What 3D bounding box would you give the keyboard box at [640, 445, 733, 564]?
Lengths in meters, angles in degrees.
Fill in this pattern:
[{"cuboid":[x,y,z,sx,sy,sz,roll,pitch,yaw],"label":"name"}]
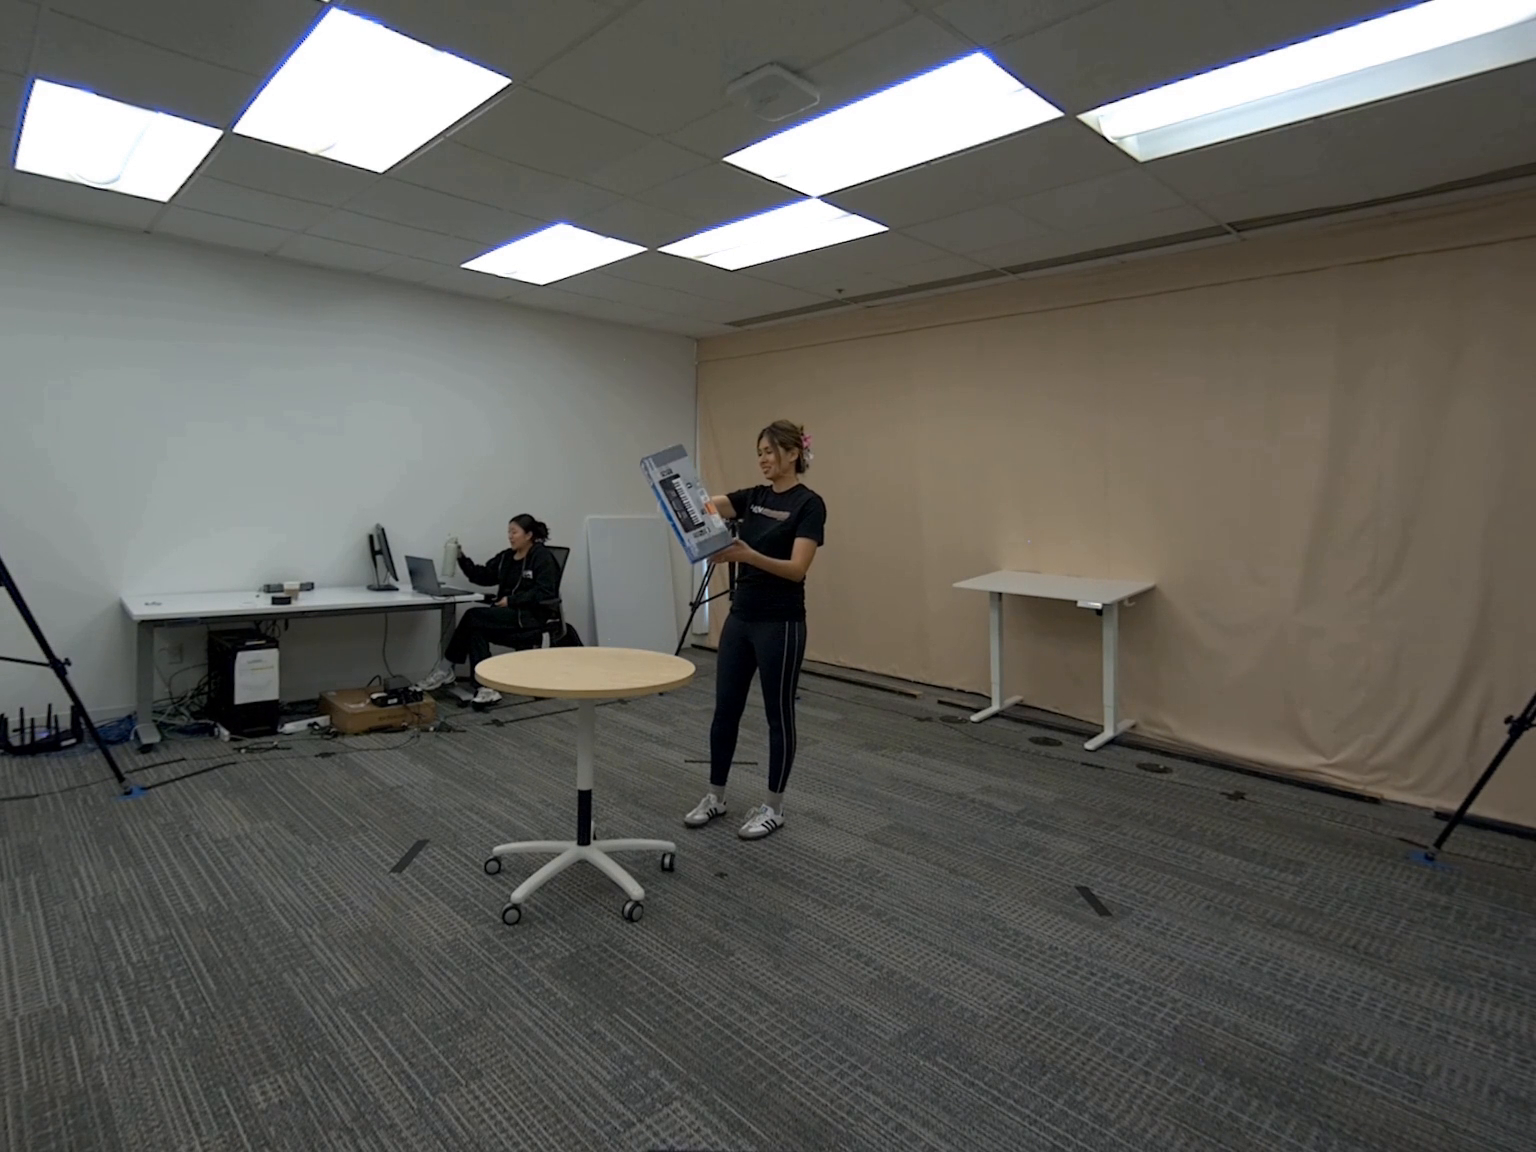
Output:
[{"cuboid":[-0.312,-0.271,3.152,0.175,0.442,0.059,-24,-11,-17],"label":"keyboard box"}]
